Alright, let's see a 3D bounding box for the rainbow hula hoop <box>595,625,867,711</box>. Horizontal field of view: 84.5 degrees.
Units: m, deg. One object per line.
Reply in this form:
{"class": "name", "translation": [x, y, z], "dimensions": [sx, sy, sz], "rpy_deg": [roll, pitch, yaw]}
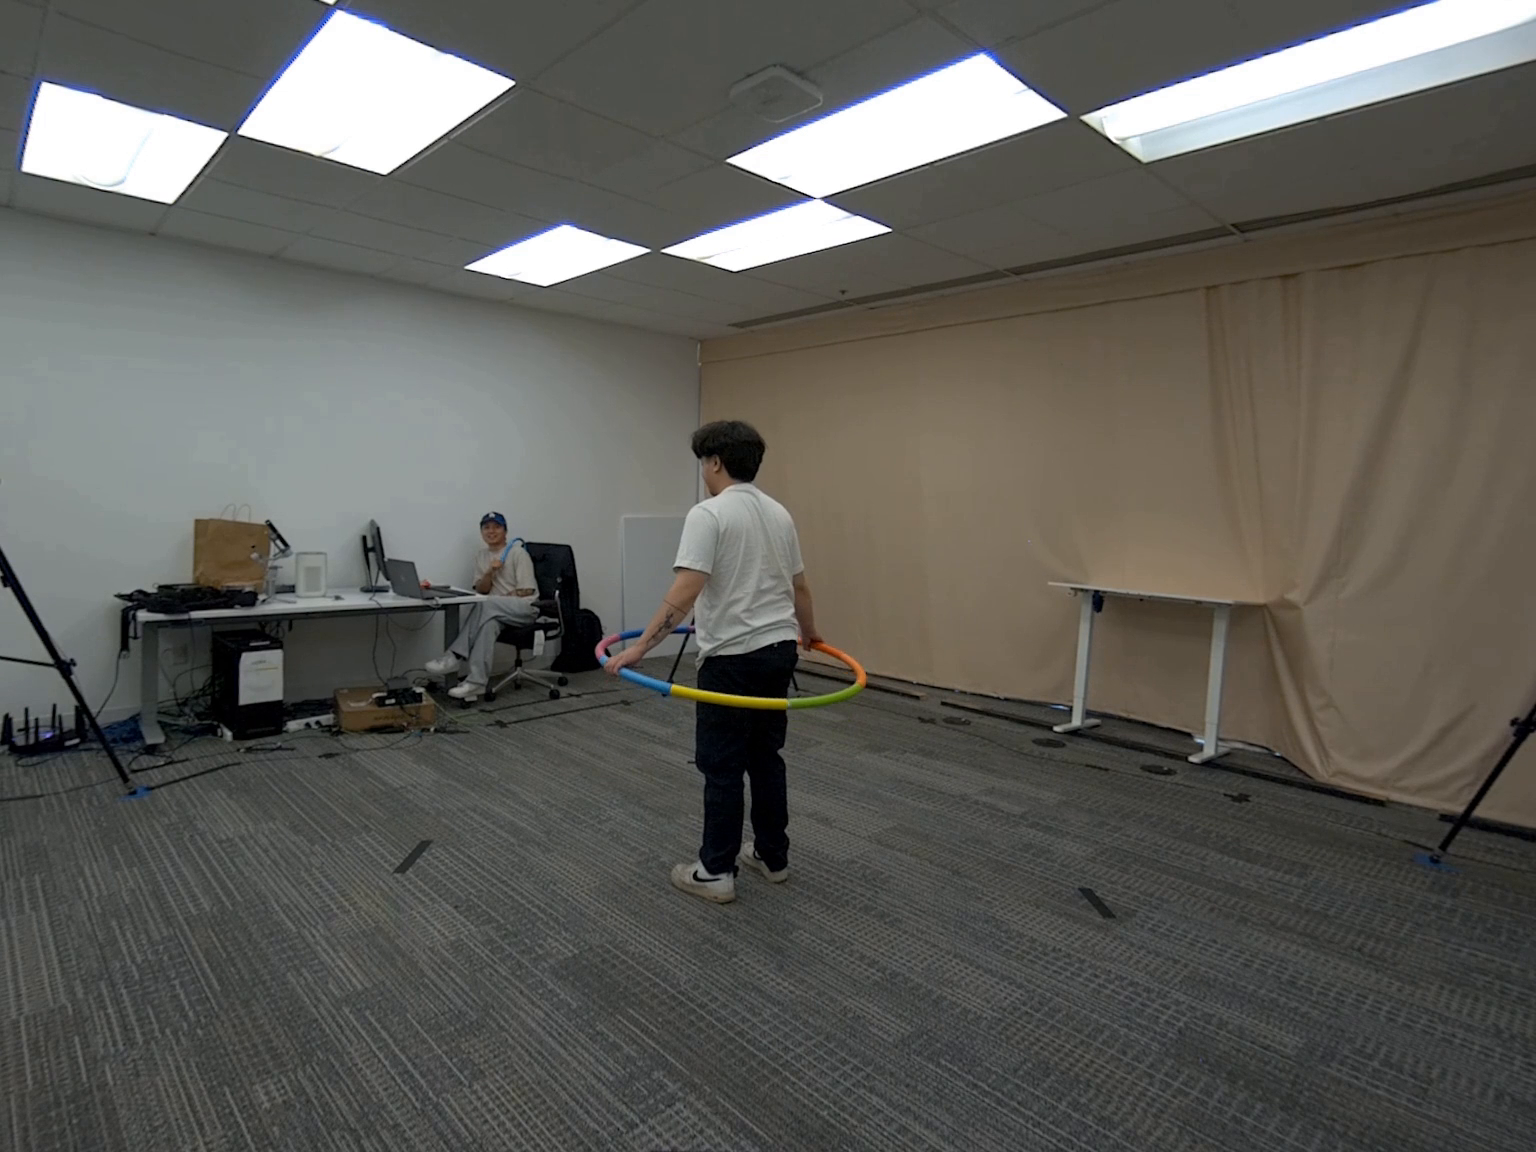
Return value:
{"class": "rainbow hula hoop", "translation": [-0.148, 0.308, 3.070], "dimensions": [0.984, 0.051, 0.992], "rpy_deg": [5, 9, -2]}
